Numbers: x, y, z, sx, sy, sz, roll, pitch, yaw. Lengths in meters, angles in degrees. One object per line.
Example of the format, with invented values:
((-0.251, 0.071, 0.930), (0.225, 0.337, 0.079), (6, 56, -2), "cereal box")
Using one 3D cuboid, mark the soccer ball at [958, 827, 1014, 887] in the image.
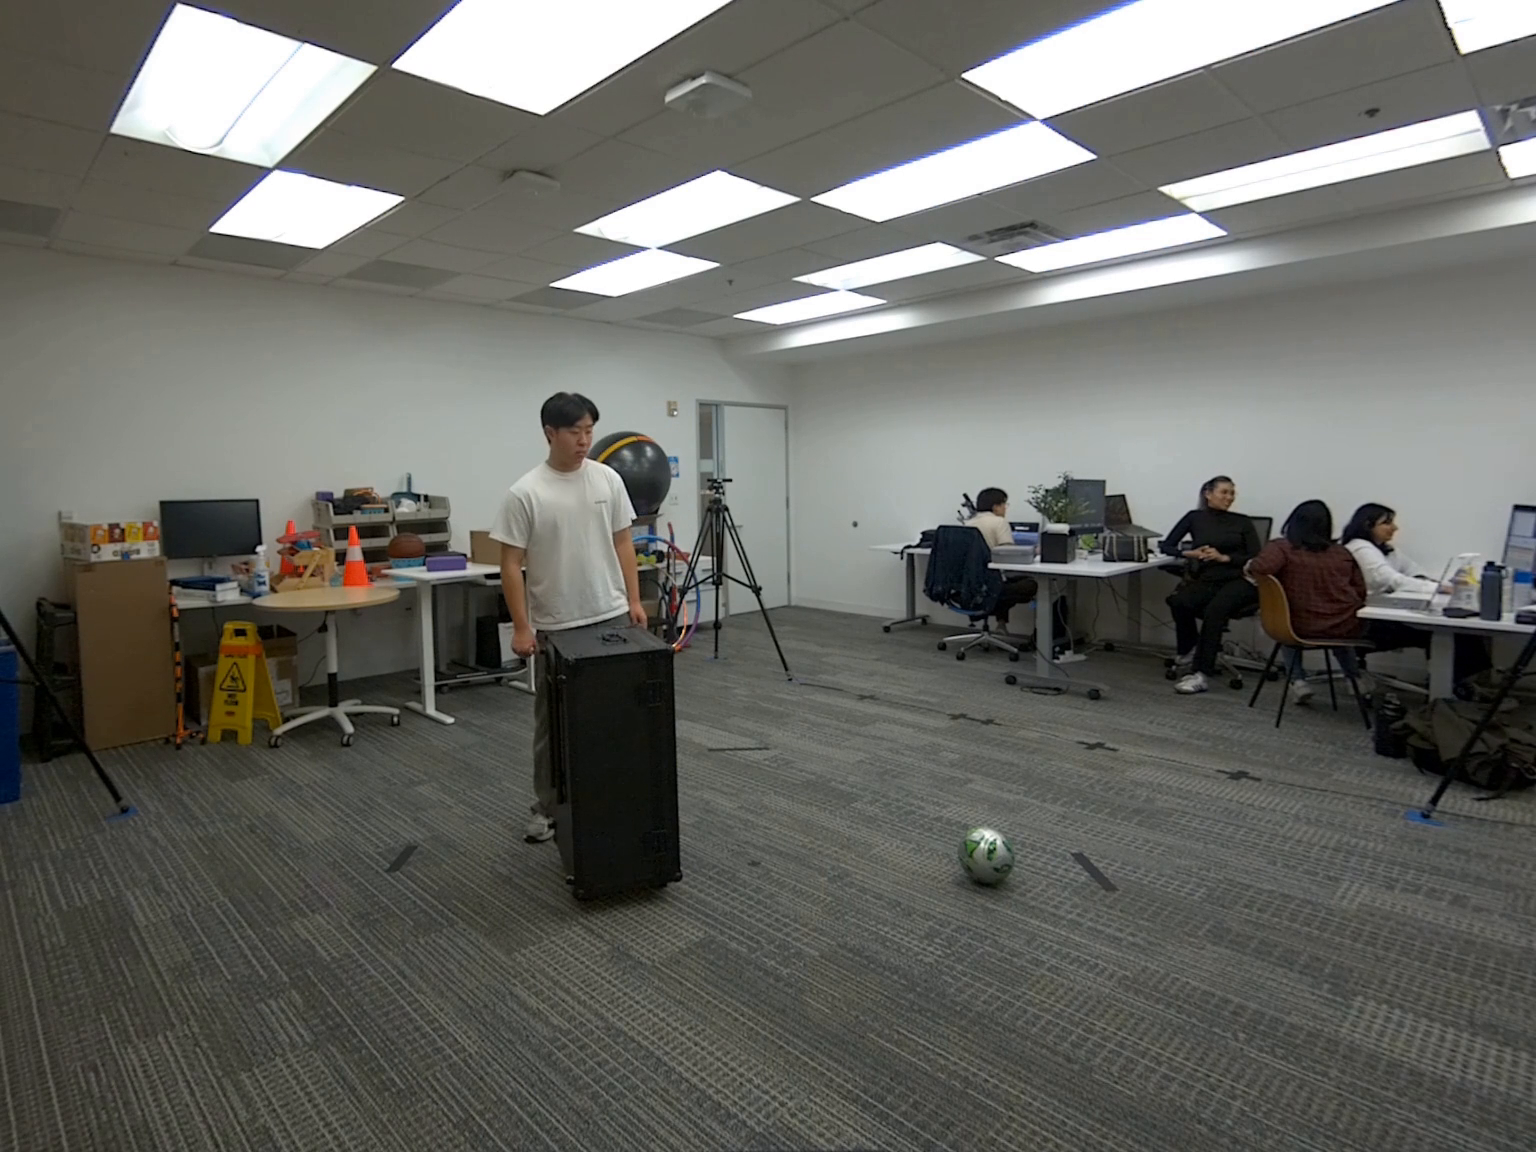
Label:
((0.747, 0.952, 2.932), (0.187, 0.187, 0.188), (-1, 5, -2), "soccer ball")
